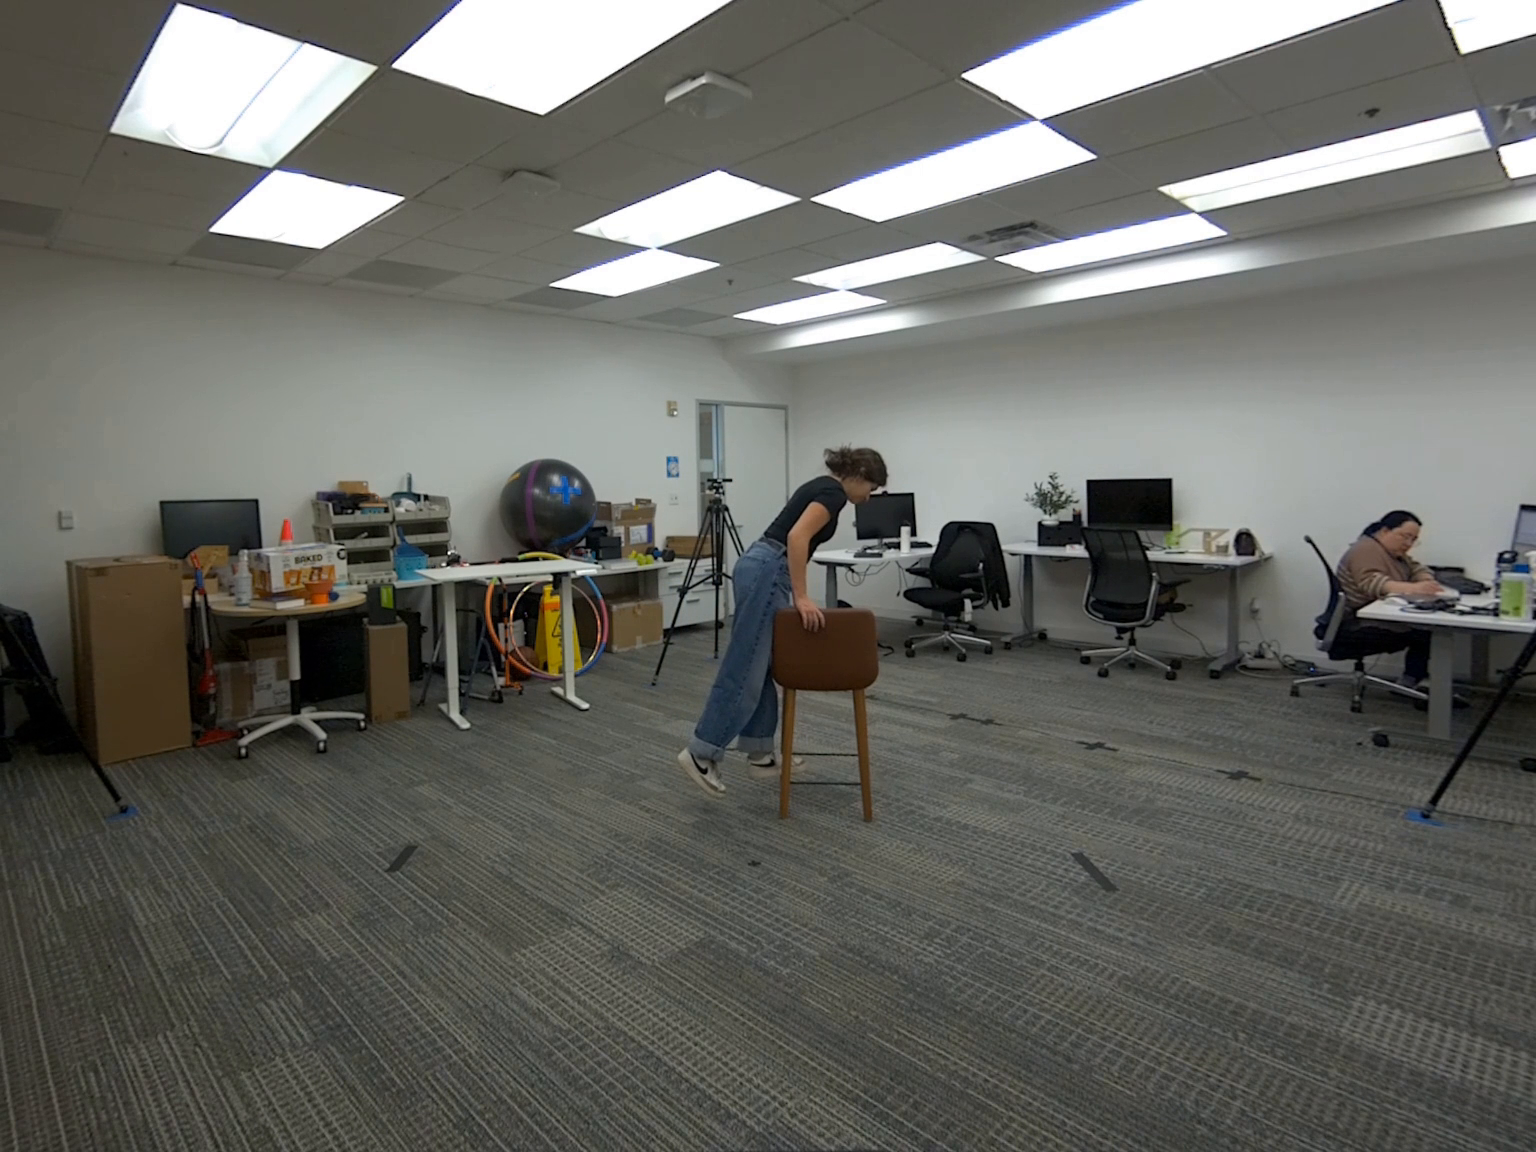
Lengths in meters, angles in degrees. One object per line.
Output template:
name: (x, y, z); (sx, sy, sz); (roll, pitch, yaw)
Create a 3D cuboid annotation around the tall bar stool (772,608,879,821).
tall bar stool: (0.242, 0.536, 3.677); (0.459, 0.885, 0.467); (0, 6, 5)
